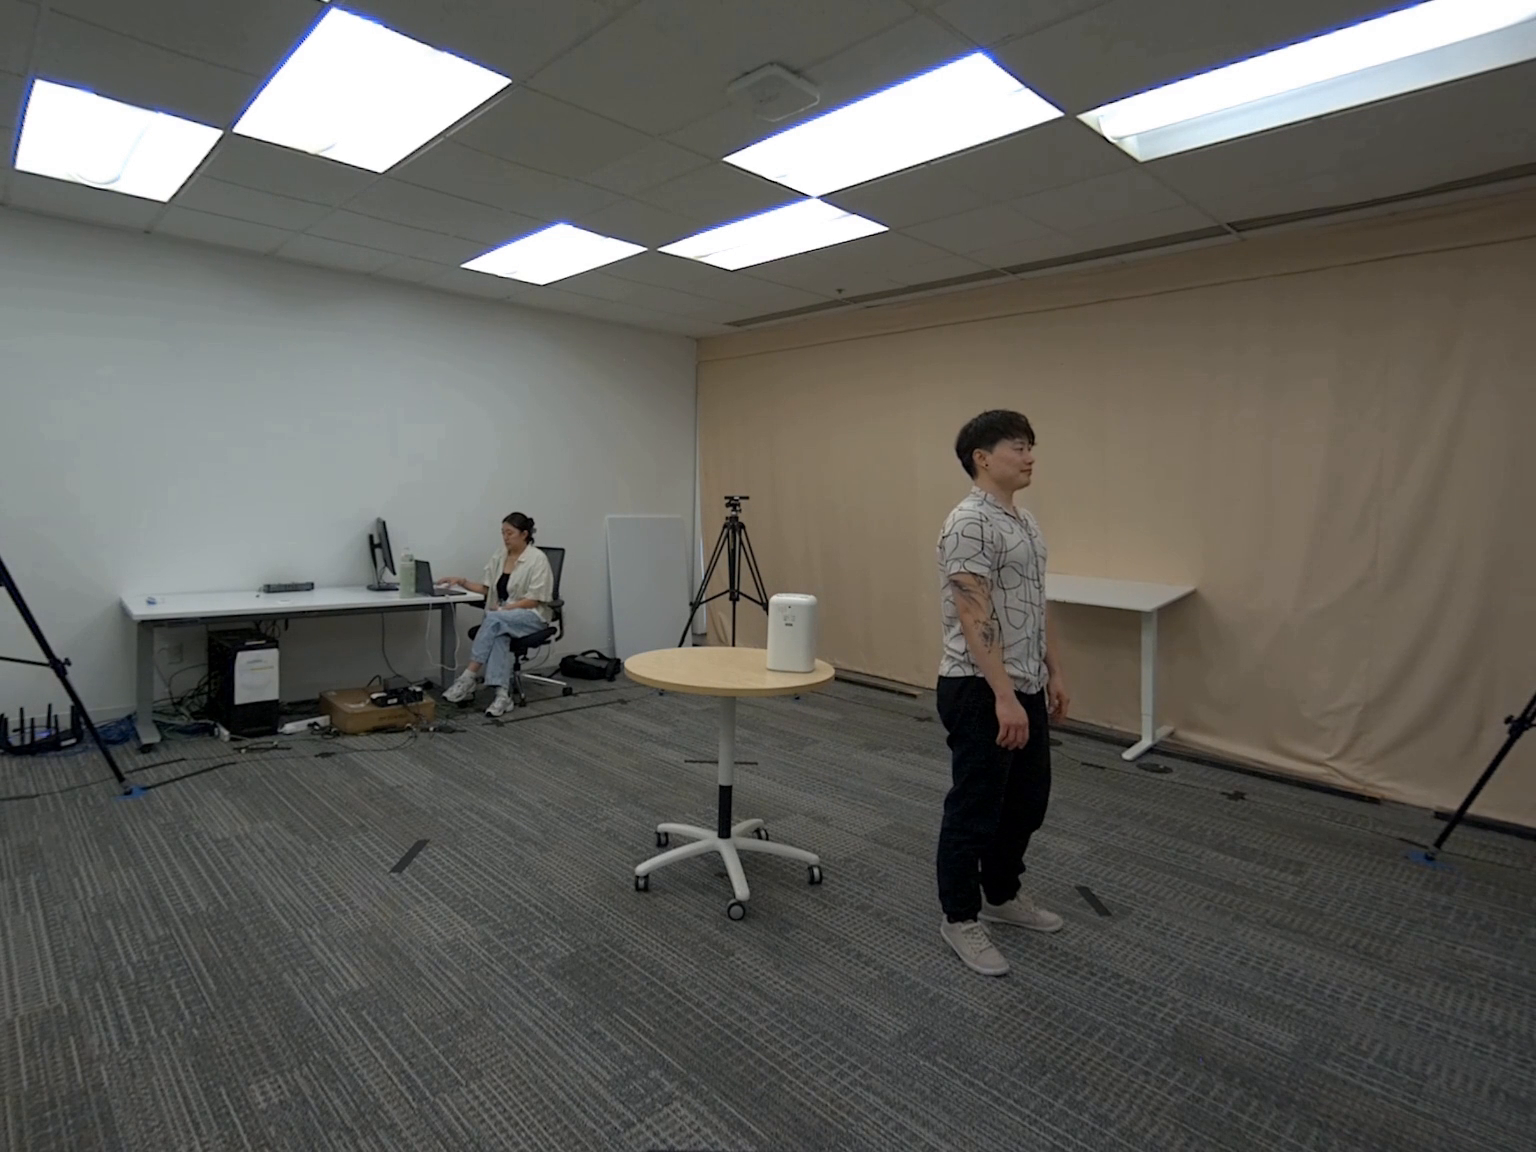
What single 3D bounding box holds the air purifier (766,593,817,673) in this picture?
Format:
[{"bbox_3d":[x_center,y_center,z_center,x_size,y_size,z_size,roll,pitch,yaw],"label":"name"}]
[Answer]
[{"bbox_3d":[0.085,0.202,3.053,0.173,0.265,0.170,4,3,12],"label":"air purifier"}]
